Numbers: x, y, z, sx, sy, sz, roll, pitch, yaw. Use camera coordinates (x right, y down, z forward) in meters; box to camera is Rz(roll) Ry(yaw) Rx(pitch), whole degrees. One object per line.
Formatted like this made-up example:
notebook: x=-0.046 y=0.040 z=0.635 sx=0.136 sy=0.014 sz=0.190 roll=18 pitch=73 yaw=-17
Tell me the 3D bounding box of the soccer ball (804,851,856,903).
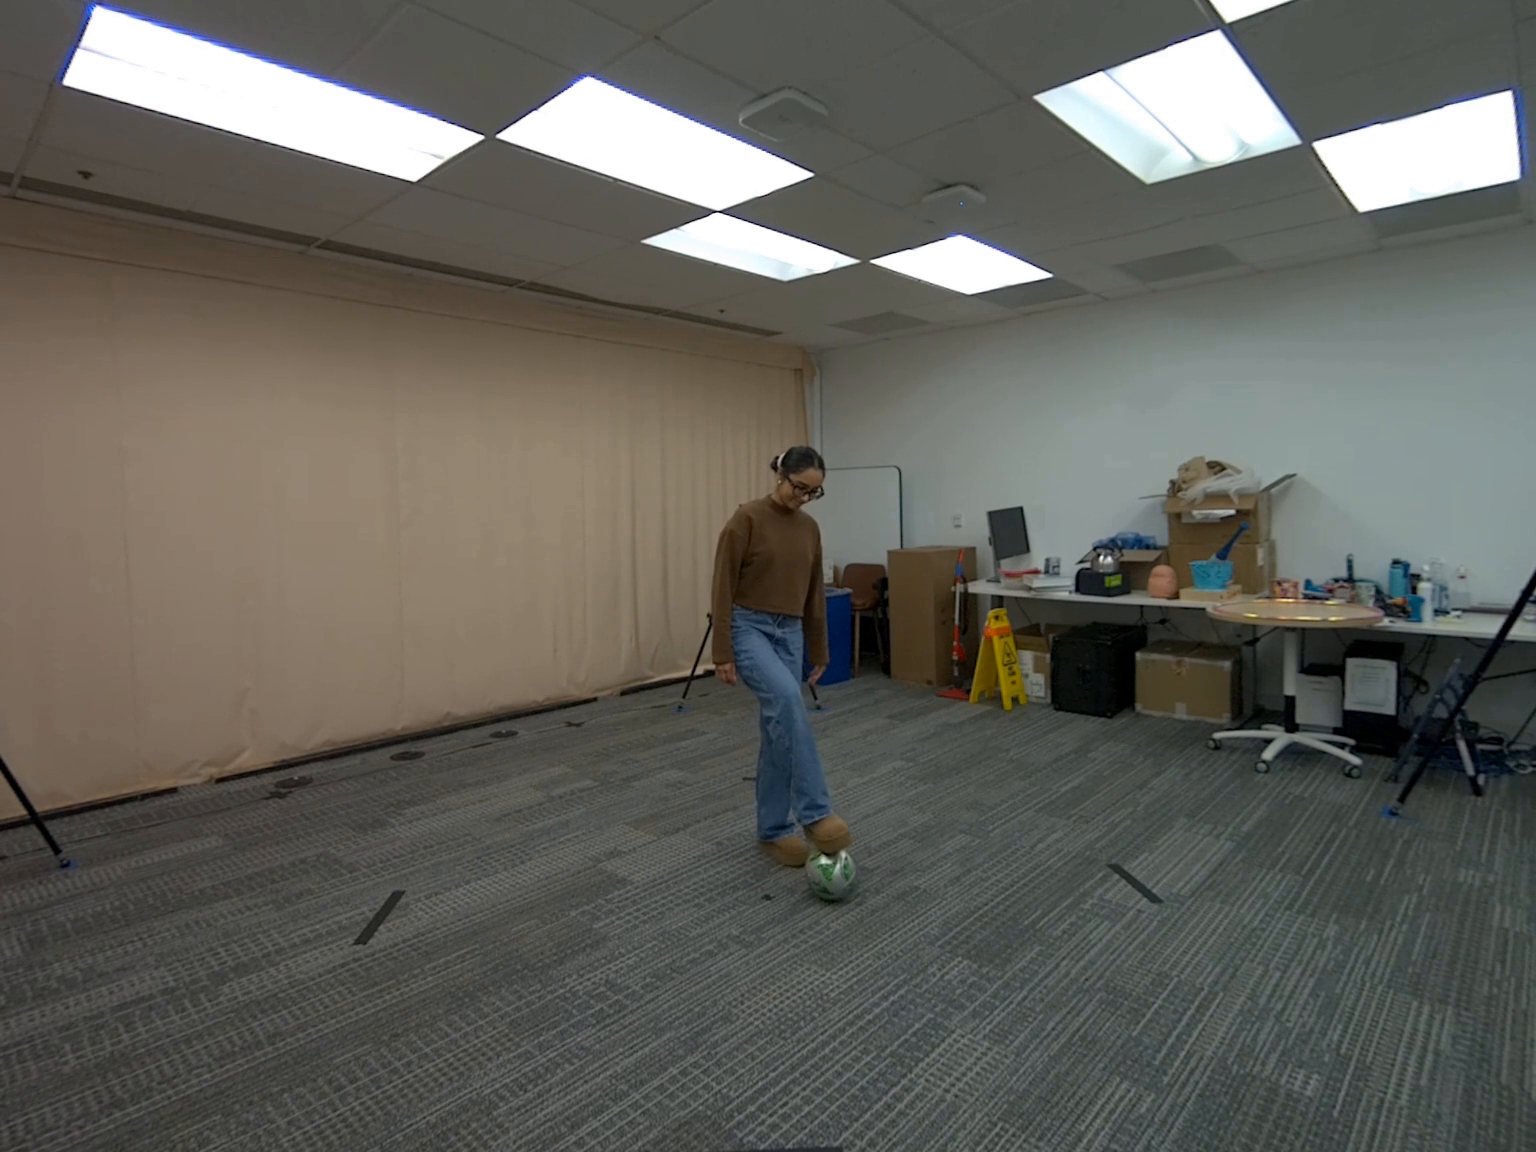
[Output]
soccer ball: x=0.230 y=1.042 z=2.967 sx=0.187 sy=0.187 sz=0.188 roll=-1 pitch=4 yaw=-2
